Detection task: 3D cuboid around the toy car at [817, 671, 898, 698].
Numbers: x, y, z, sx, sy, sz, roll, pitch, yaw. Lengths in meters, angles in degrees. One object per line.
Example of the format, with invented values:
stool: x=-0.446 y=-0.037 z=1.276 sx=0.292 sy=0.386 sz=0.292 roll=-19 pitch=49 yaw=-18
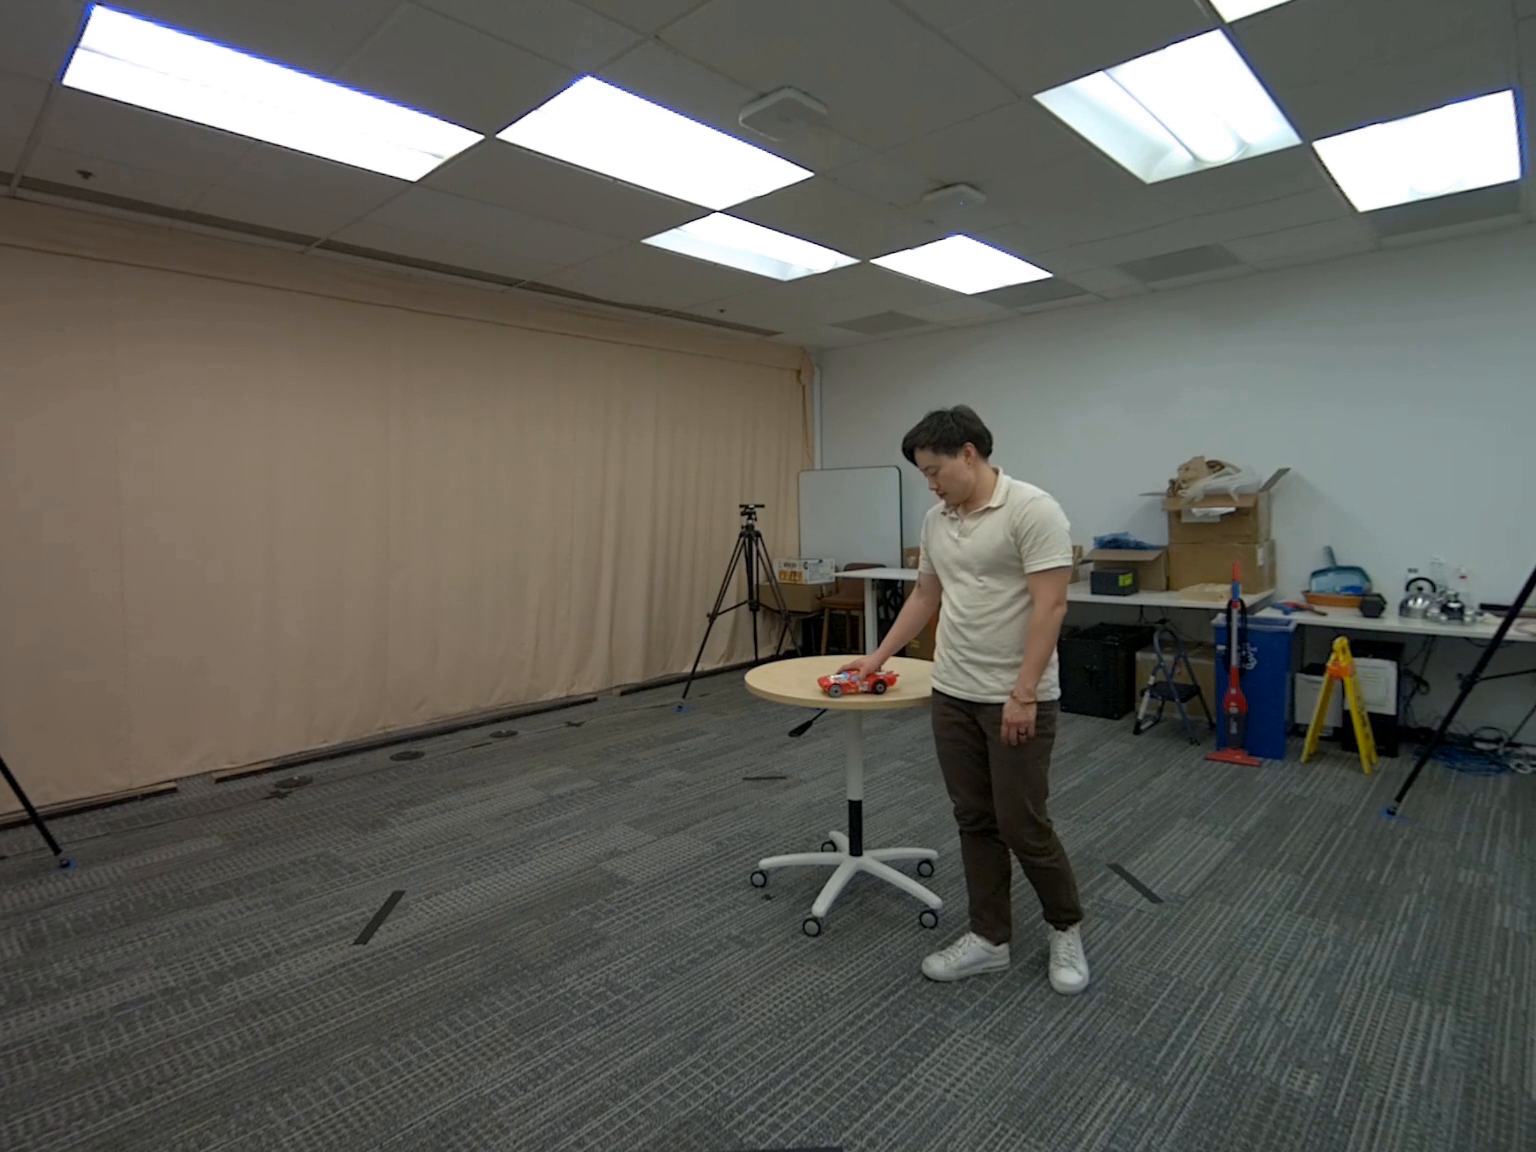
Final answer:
toy car: x=0.303 y=0.344 z=2.699 sx=0.253 sy=0.083 sz=0.132 roll=-12 pitch=6 yaw=-7
